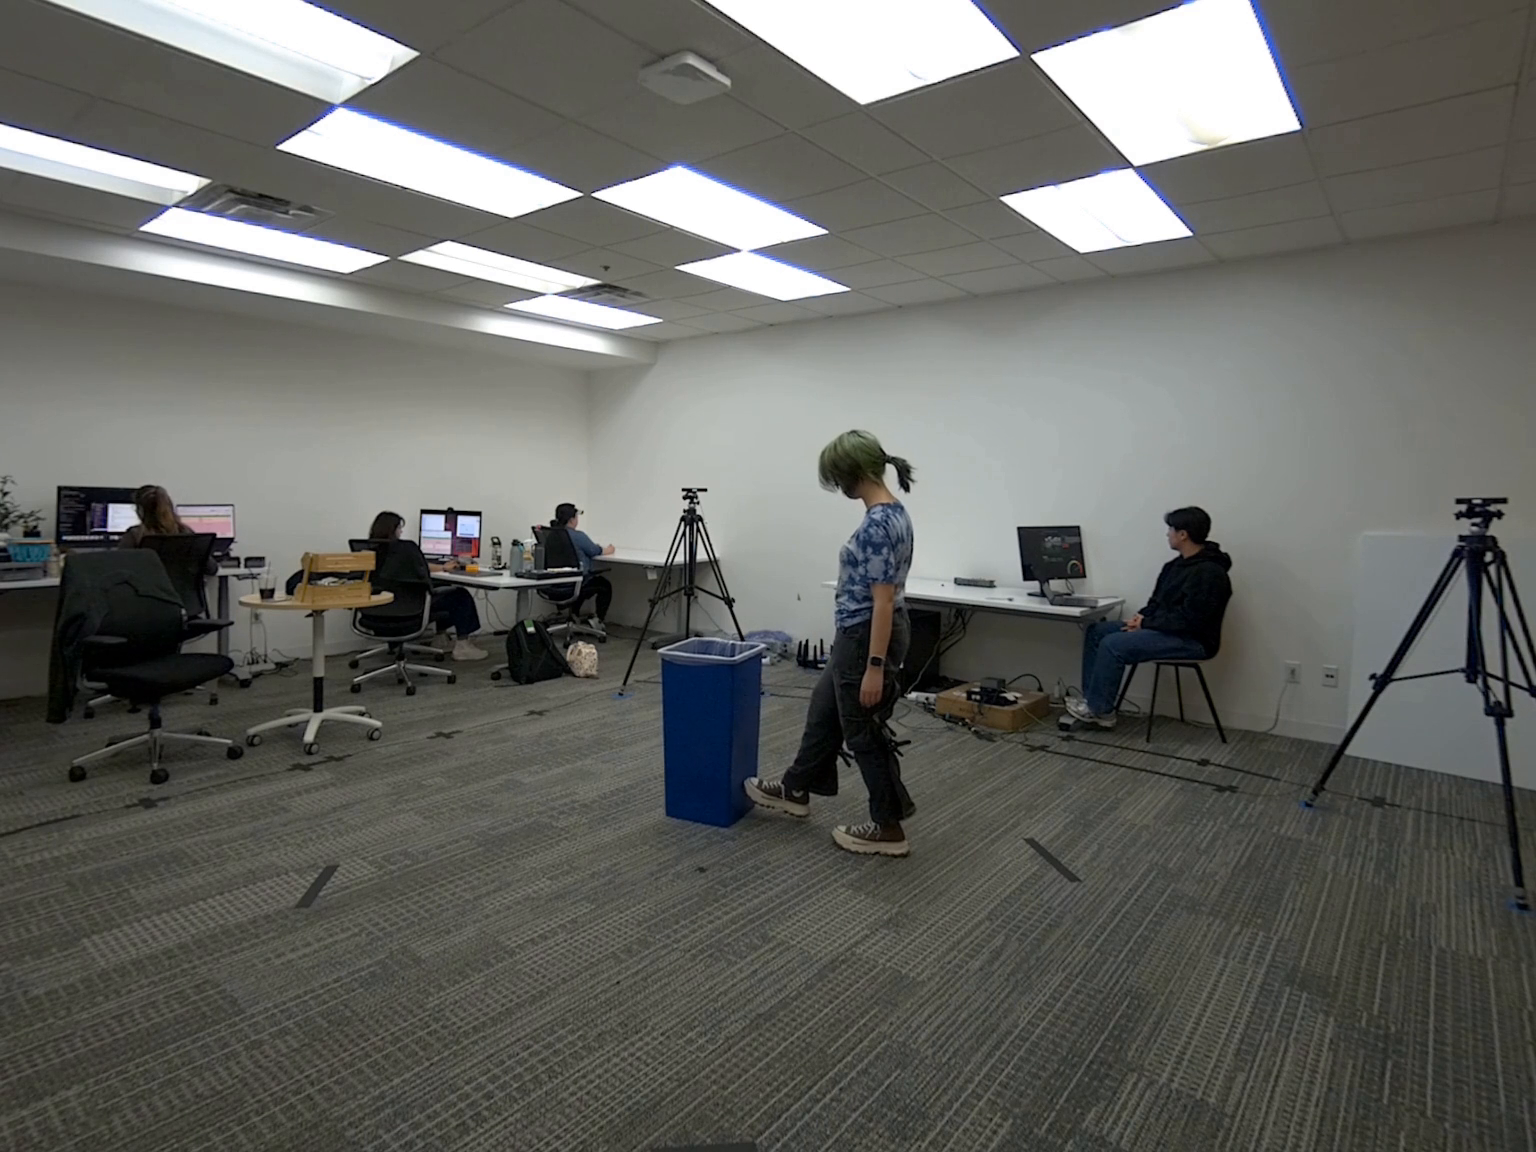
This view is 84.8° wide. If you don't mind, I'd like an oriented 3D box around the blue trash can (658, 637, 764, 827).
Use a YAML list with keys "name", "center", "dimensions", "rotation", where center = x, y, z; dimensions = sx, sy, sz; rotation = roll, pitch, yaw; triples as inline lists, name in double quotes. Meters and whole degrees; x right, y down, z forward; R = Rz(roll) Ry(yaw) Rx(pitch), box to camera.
- name: "blue trash can"
  center: [-0.257, 0.657, 3.665]
  dimensions: [0.387, 0.712, 0.366]
  rotation: [2, 3, 23]
